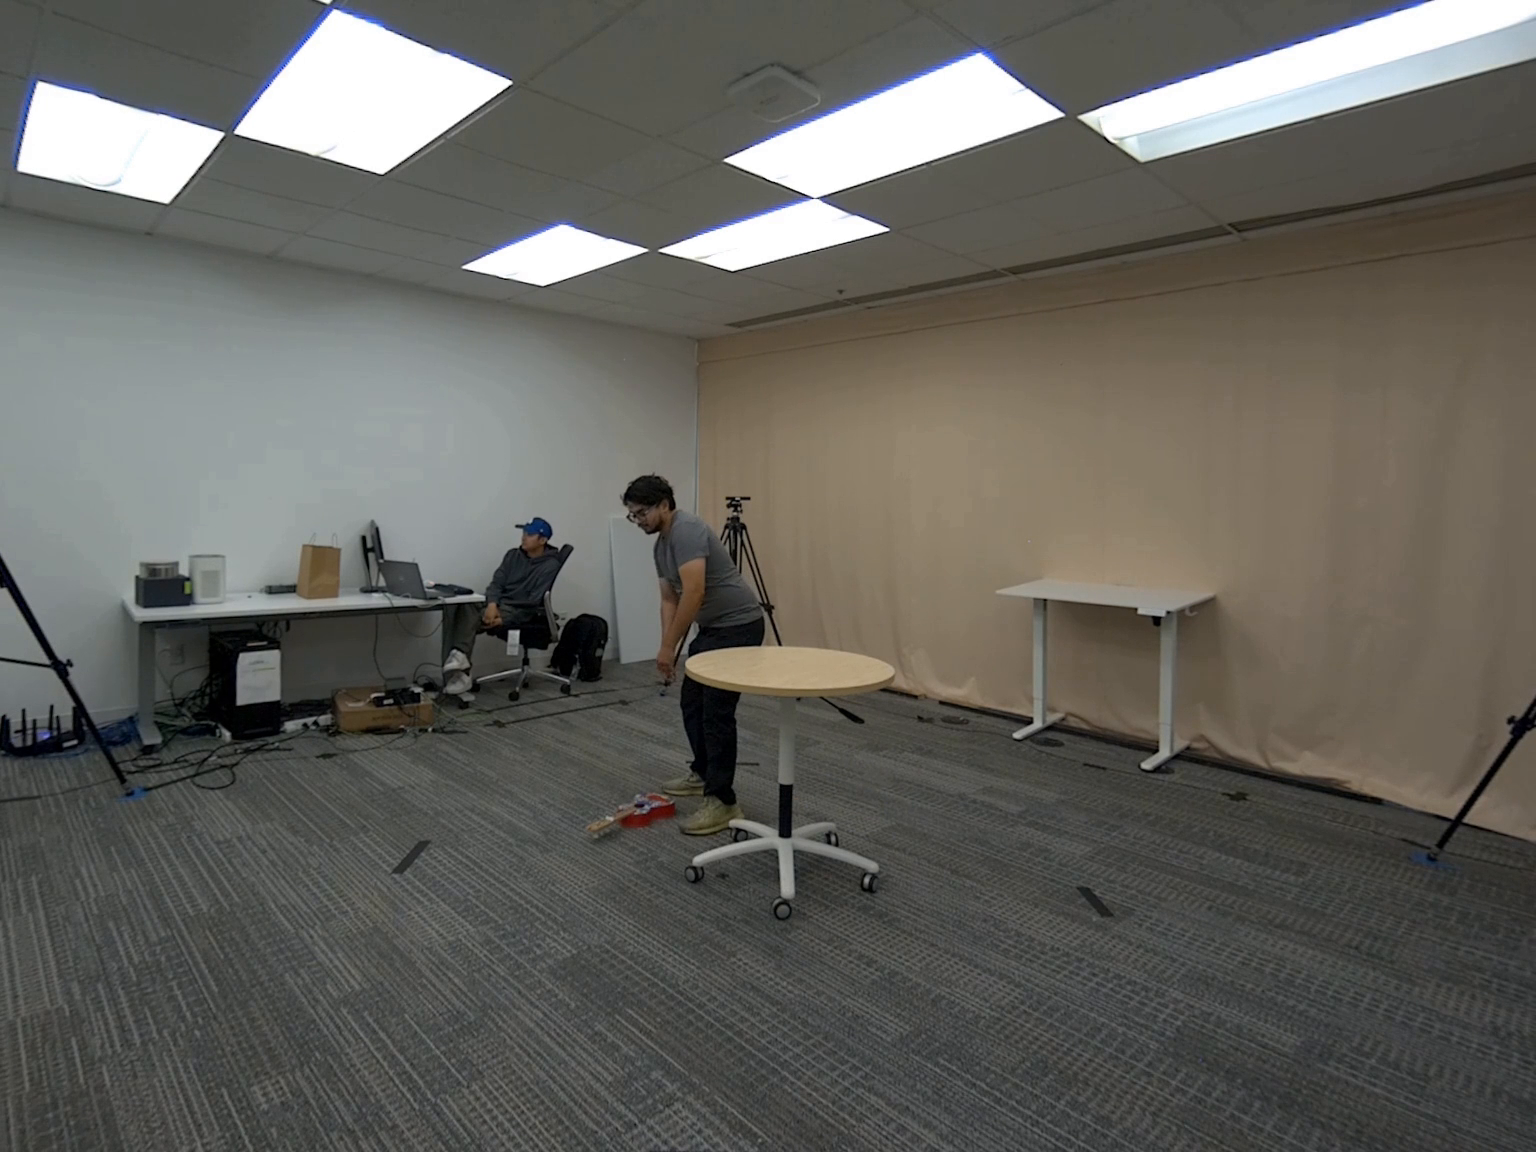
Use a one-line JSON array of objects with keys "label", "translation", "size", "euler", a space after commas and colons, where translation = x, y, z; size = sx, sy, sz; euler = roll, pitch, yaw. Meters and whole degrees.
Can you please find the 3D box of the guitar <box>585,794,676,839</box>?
[{"label": "guitar", "translation": [-0.625, 1.019, 3.587], "size": [0.198, 0.070, 0.487], "euler": [5, 5, 38]}]
